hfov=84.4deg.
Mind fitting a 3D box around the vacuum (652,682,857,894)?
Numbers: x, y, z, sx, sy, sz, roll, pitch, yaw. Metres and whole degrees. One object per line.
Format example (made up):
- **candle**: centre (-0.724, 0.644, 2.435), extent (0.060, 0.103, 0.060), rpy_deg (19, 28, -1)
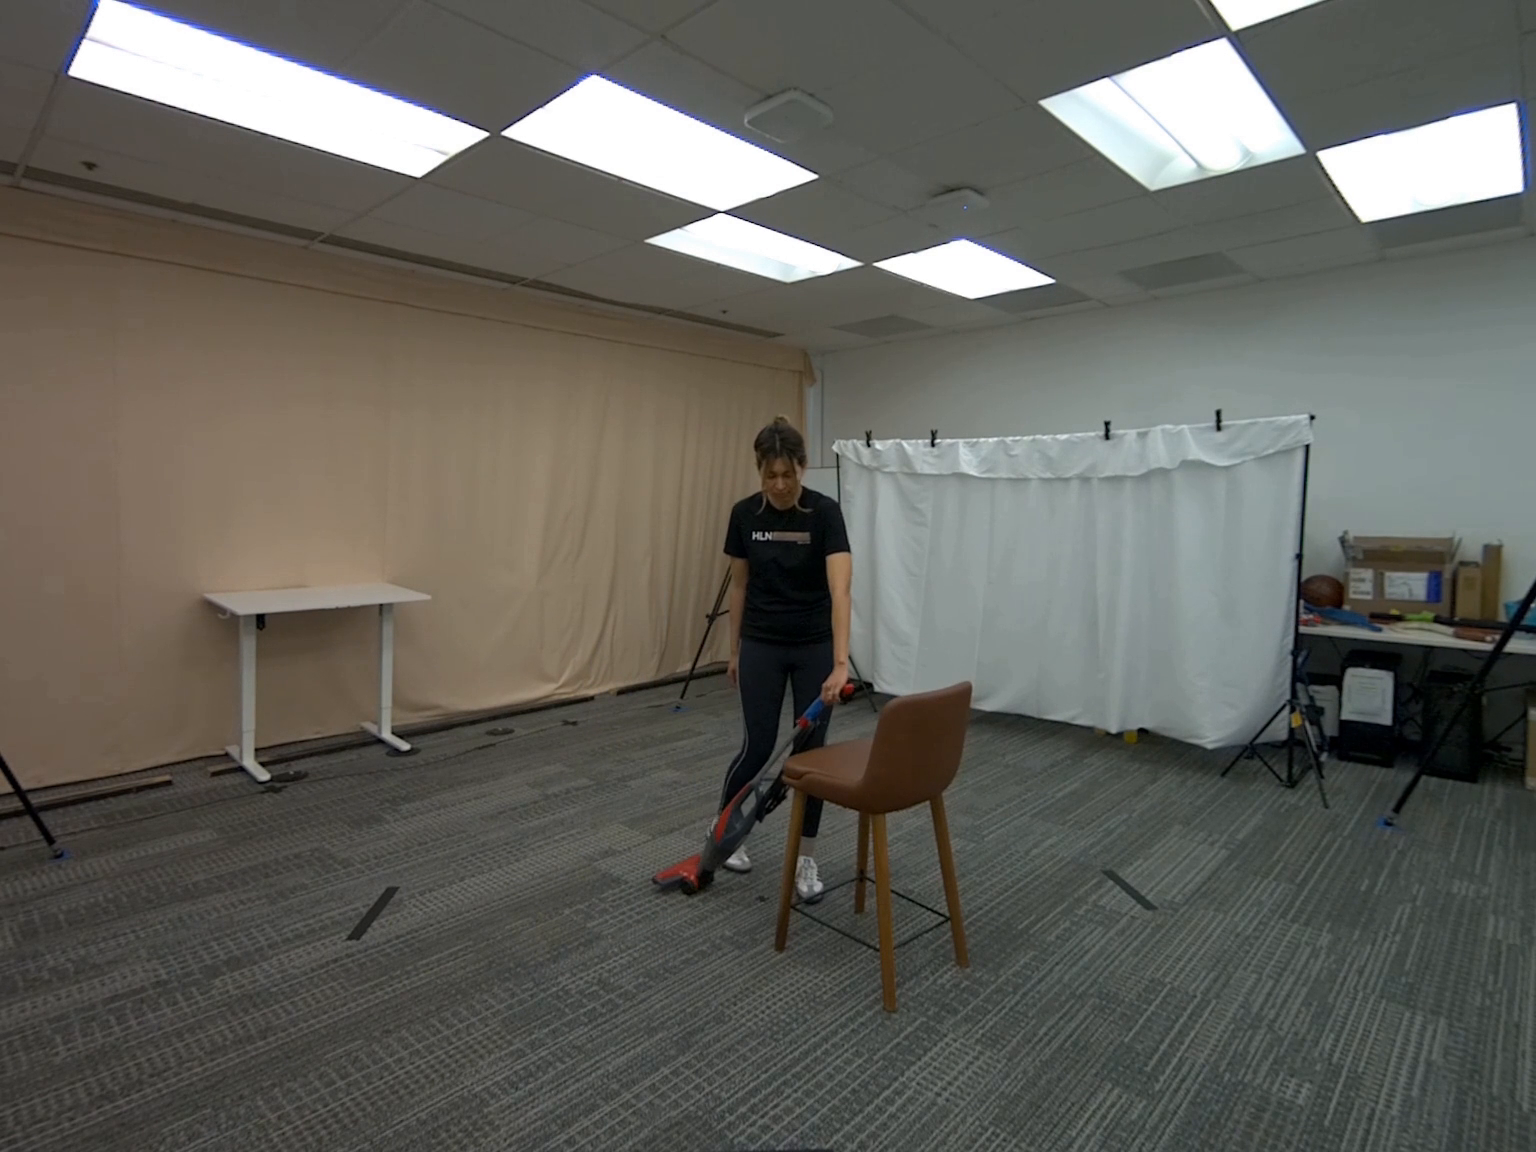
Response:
- **vacuum**: centre (-0.020, 0.729, 2.861), extent (0.148, 1.052, 0.245), rpy_deg (50, 28, 24)
